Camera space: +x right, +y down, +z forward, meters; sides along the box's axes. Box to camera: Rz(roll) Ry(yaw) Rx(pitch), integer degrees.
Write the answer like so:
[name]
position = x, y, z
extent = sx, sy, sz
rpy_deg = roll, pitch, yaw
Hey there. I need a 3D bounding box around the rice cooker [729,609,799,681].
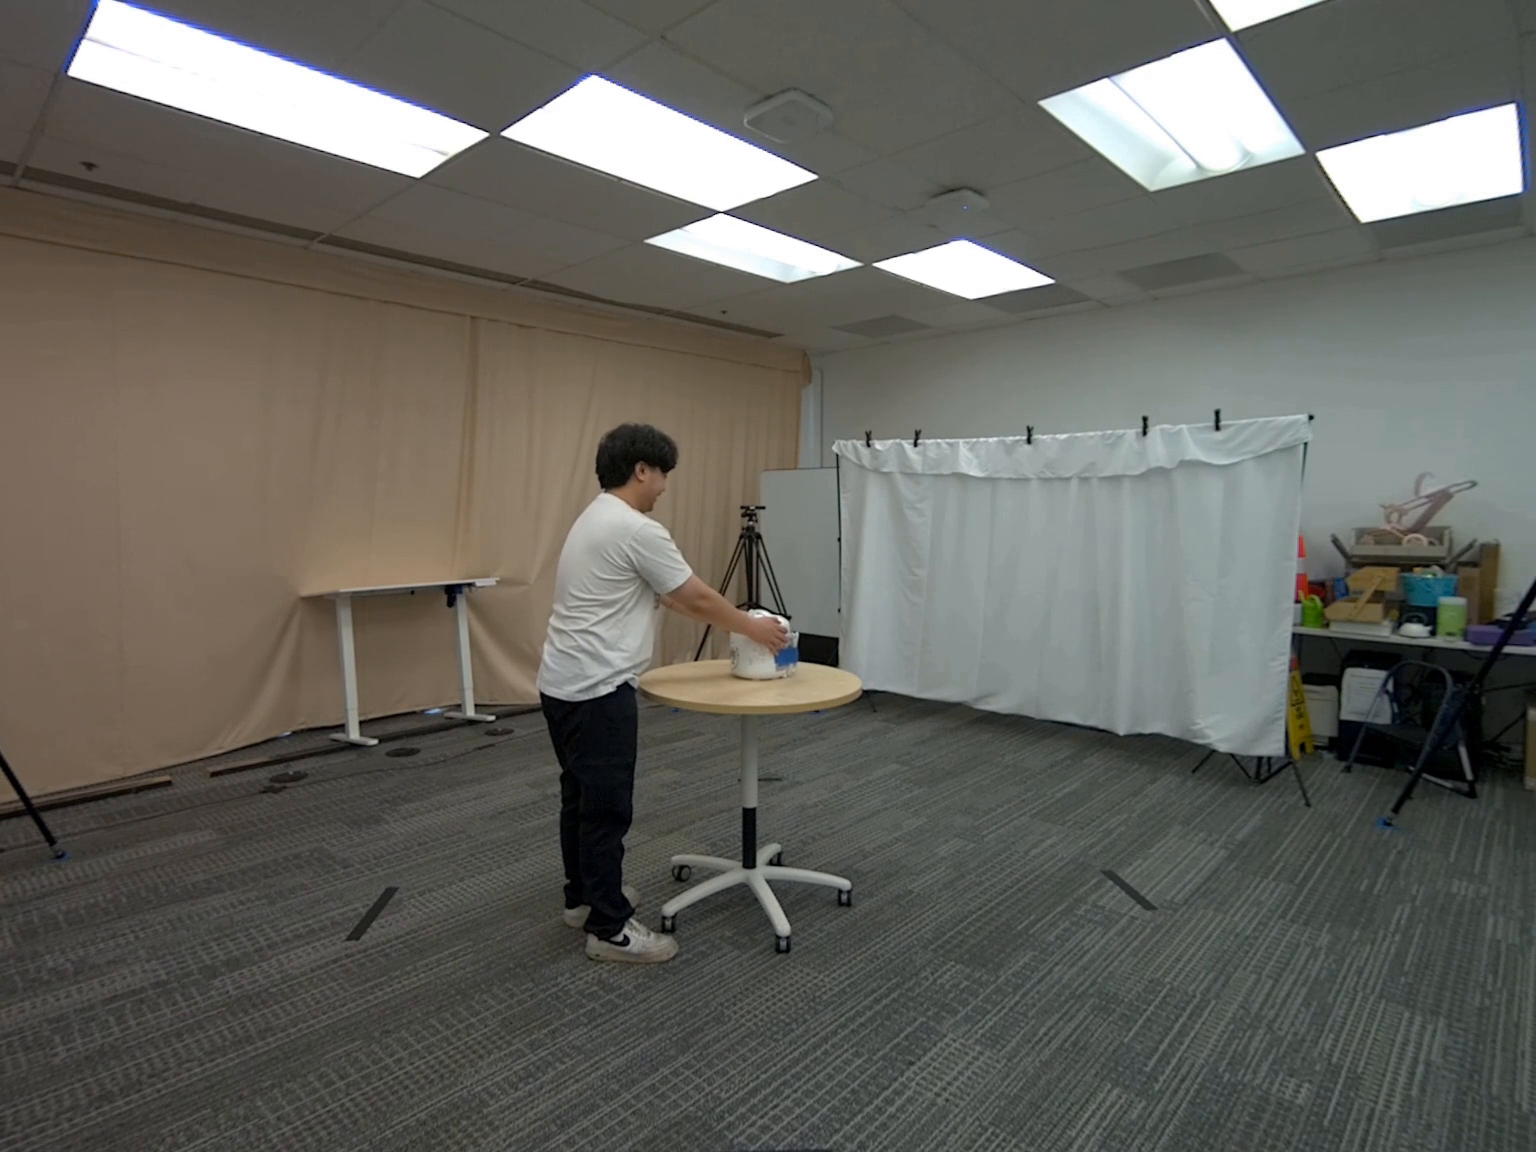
[rice cooker]
position = -0.025, 0.236, 2.946
extent = 0.212, 0.232, 0.226
rpy_deg = -1, 2, -29
